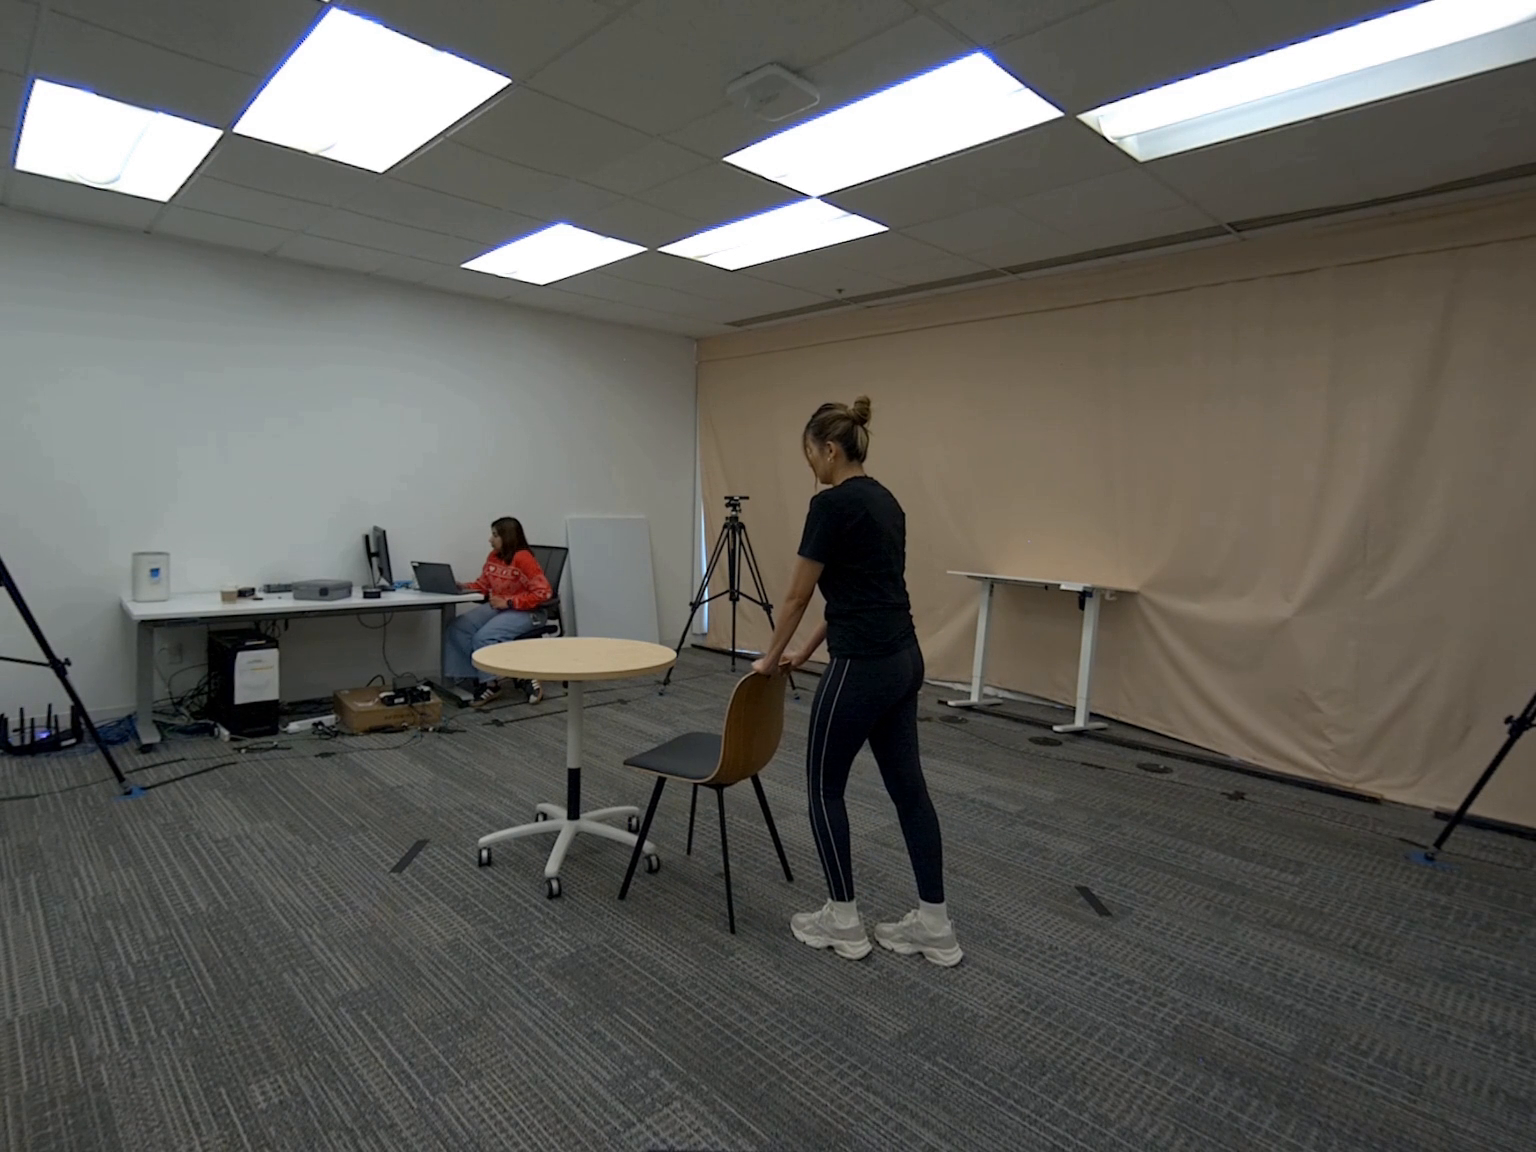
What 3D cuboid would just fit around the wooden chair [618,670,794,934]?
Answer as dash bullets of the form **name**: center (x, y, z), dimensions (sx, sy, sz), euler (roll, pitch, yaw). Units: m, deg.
- **wooden chair**: center (-0.211, 0.686, 2.952), dimensions (0.535, 0.874, 0.469), euler (8, 6, 28)
